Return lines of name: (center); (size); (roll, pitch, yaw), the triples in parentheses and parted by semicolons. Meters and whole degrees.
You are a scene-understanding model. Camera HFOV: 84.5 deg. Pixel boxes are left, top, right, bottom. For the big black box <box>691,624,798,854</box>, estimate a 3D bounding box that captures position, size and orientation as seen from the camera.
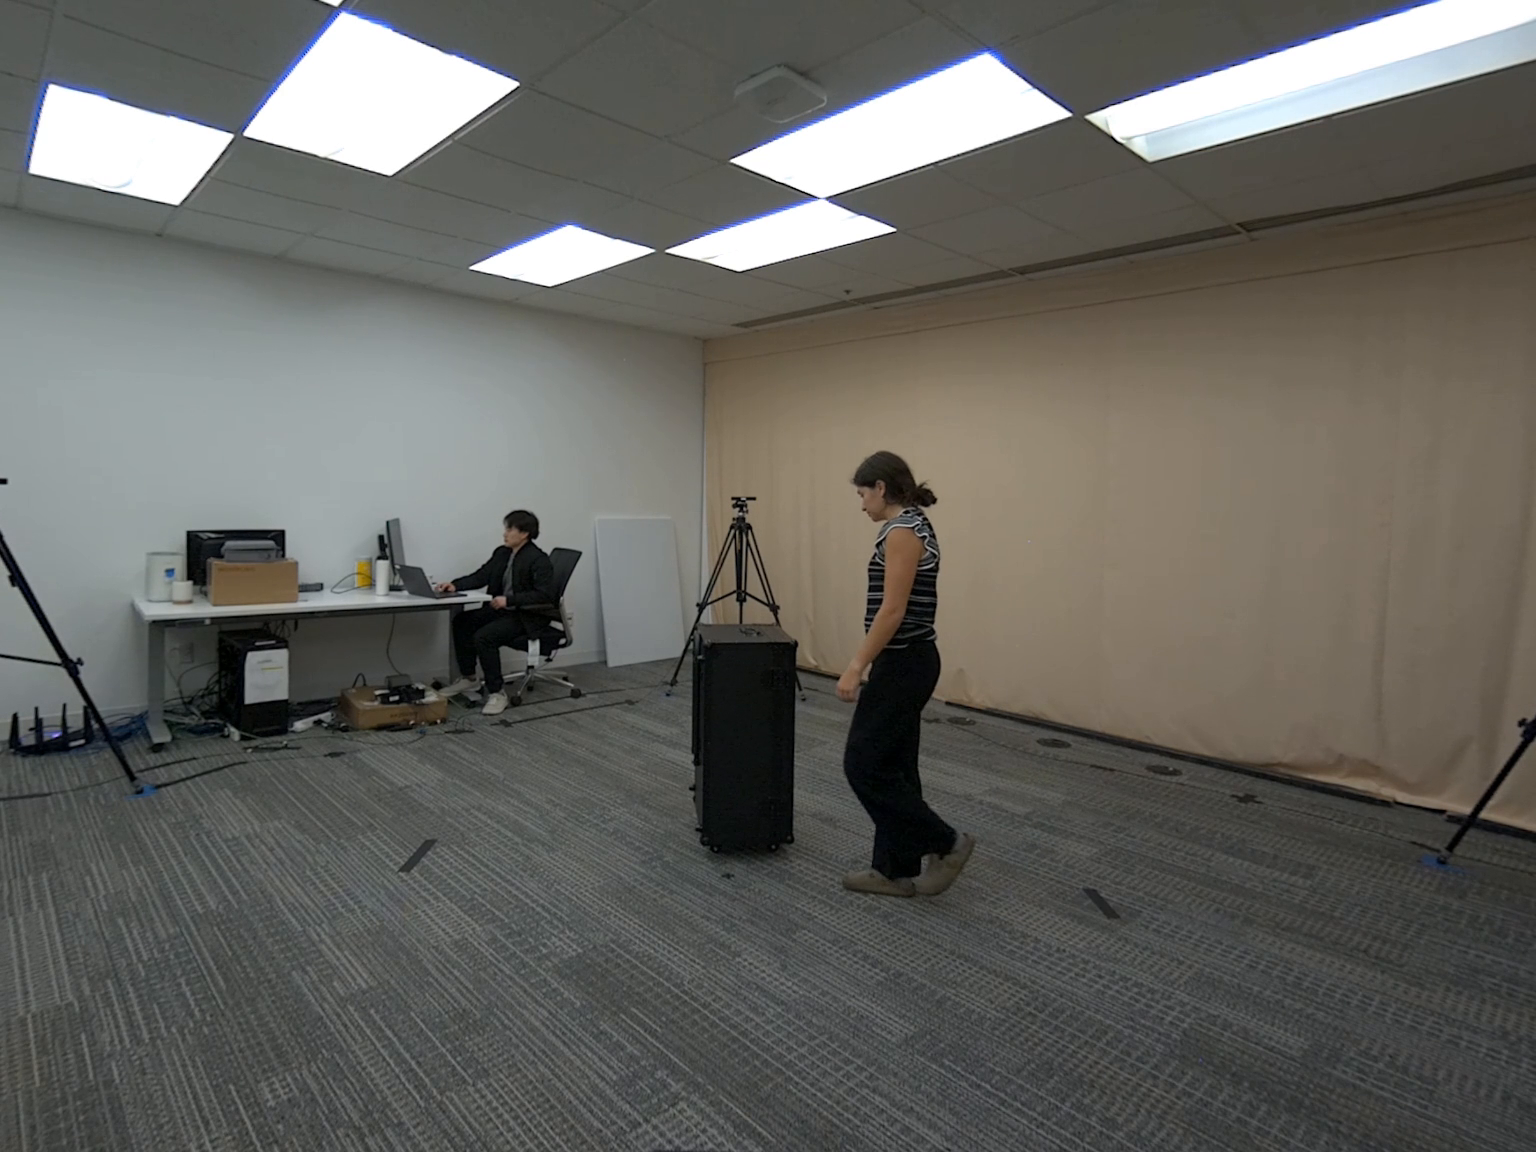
big black box: (-0.123, 0.650, 3.434); (0.394, 0.860, 0.525); (0, 3, -7)
